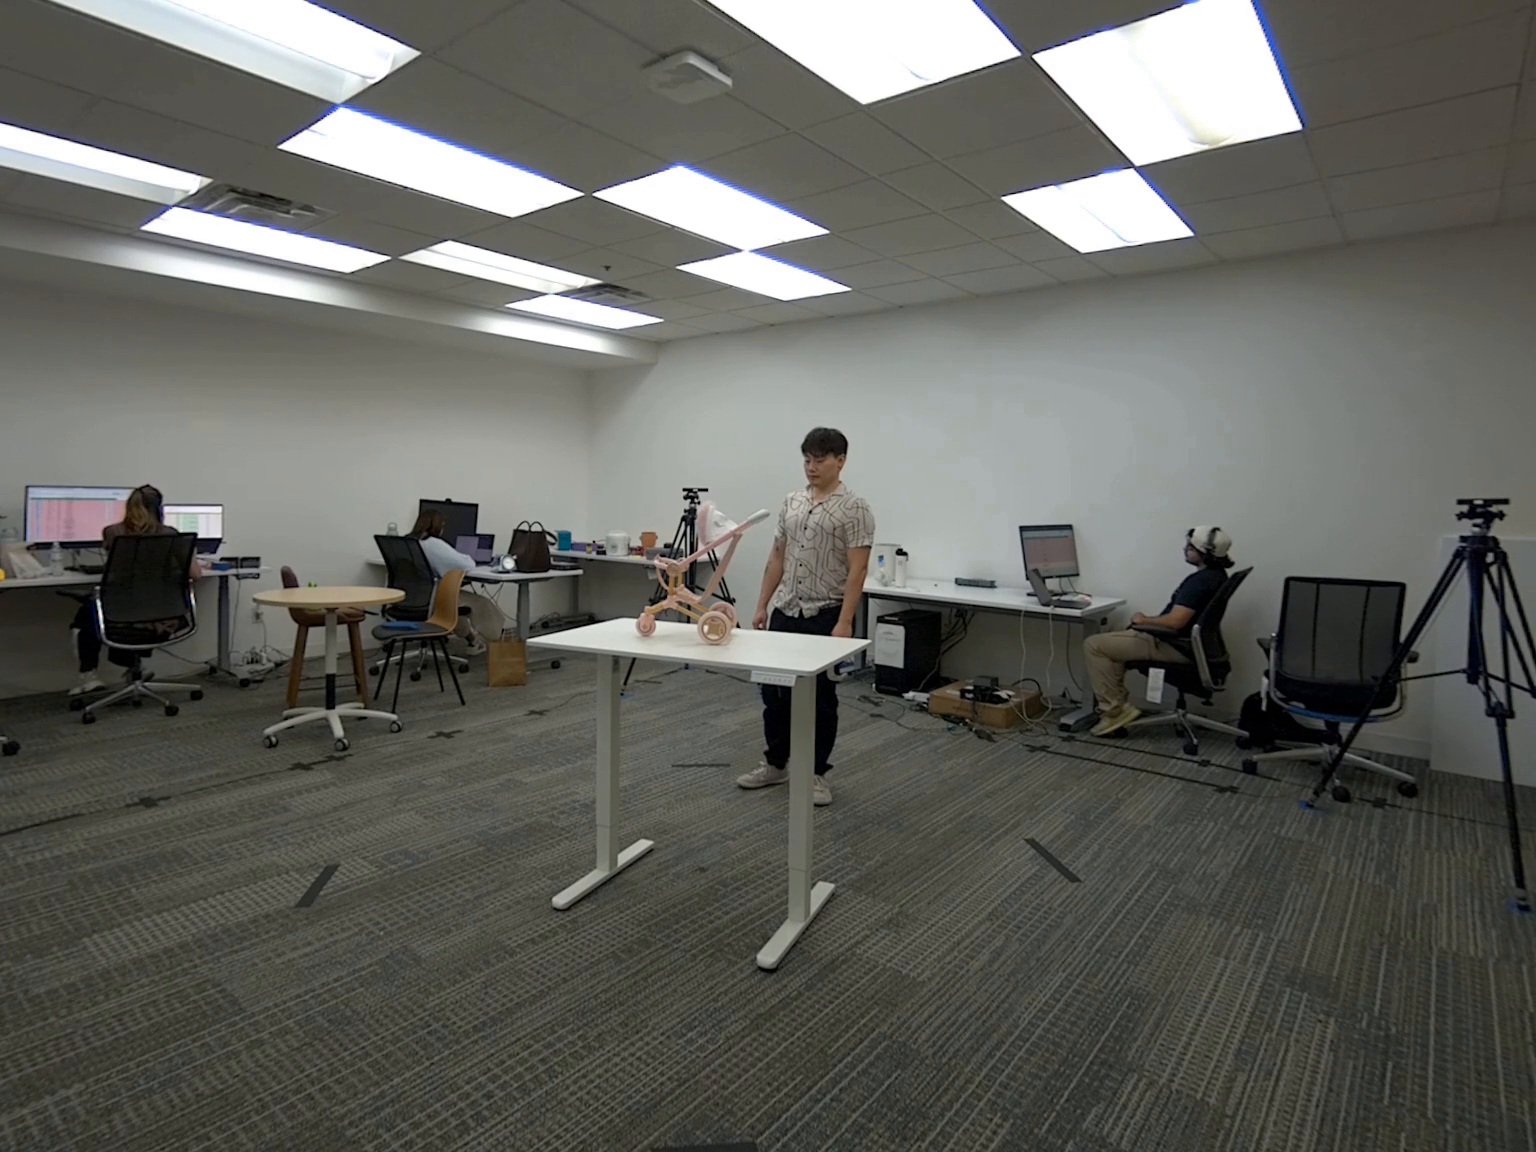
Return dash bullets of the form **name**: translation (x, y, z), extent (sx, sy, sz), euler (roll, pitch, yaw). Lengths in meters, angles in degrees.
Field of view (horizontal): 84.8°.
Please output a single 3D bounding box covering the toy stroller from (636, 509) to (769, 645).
- **toy stroller**: translation (-0.239, -0.014, 2.881), extent (0.346, 0.533, 0.279), euler (16, 5, 9)
